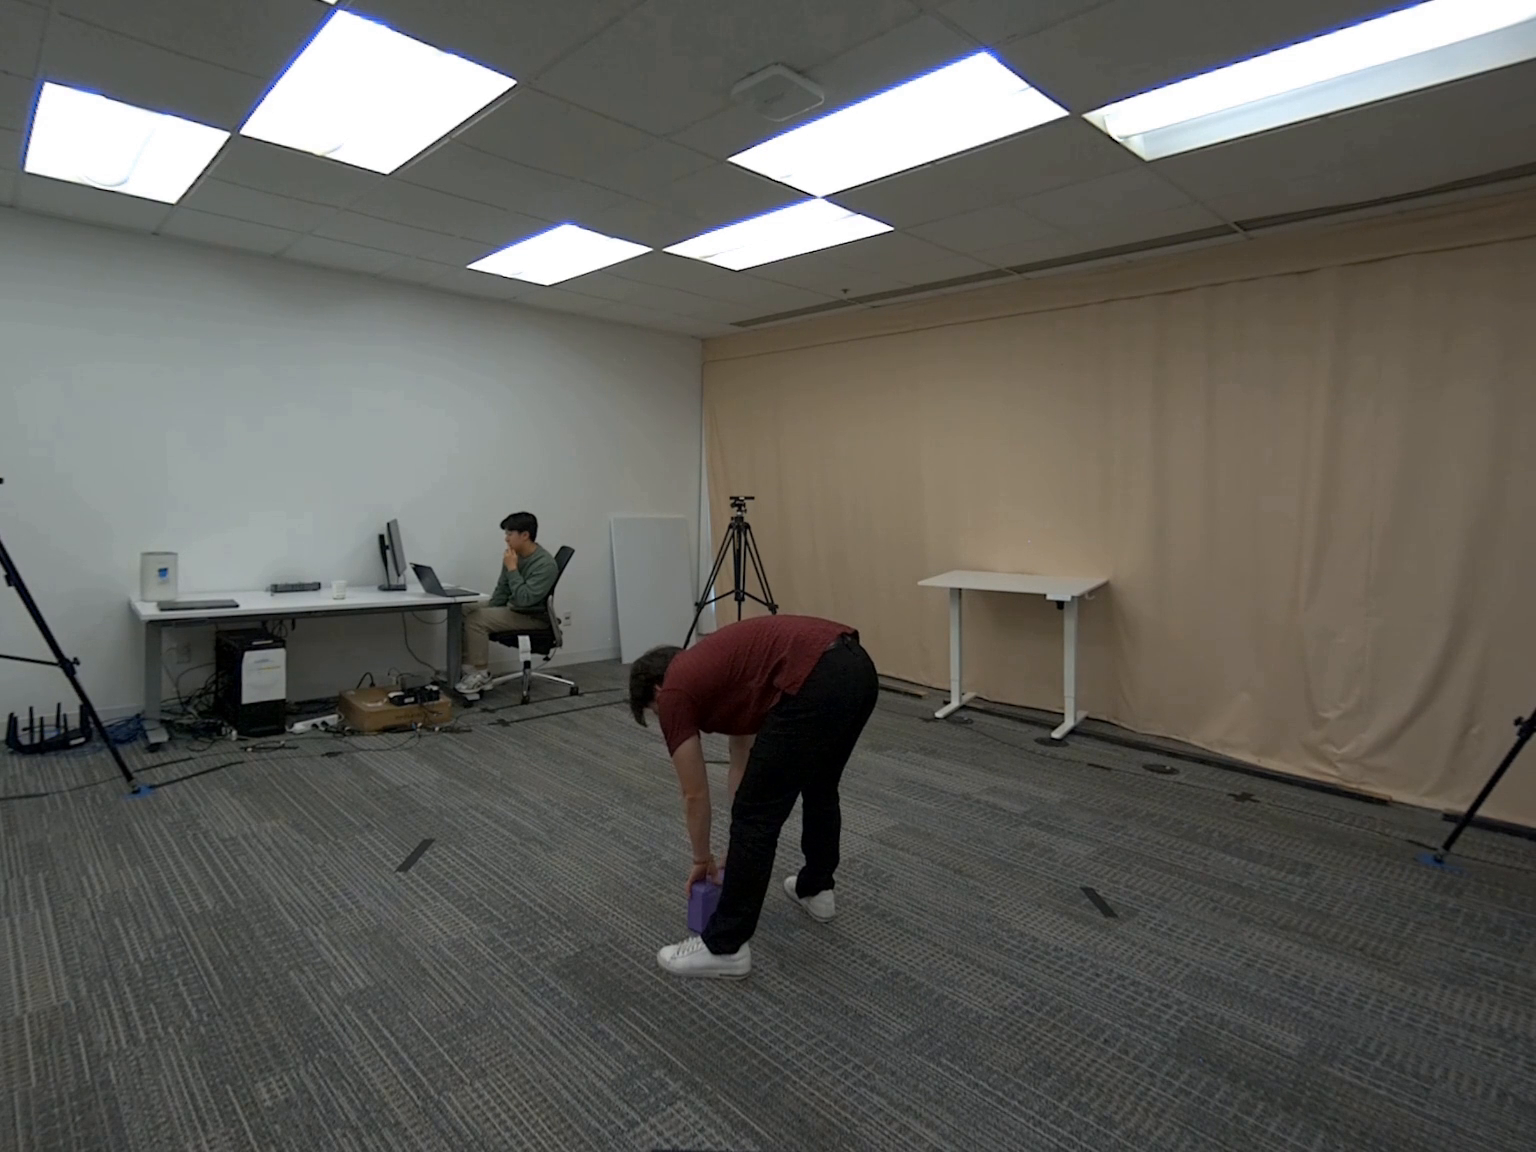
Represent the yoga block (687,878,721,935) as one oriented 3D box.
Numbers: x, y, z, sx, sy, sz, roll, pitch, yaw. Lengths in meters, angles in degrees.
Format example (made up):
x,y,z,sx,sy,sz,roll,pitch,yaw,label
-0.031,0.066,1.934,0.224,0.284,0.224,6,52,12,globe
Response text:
x,y,z,sx,sy,sz,roll,pitch,yaw,label
-0.164,1.064,2.765,0.078,0.148,0.224,9,8,35,yoga block
